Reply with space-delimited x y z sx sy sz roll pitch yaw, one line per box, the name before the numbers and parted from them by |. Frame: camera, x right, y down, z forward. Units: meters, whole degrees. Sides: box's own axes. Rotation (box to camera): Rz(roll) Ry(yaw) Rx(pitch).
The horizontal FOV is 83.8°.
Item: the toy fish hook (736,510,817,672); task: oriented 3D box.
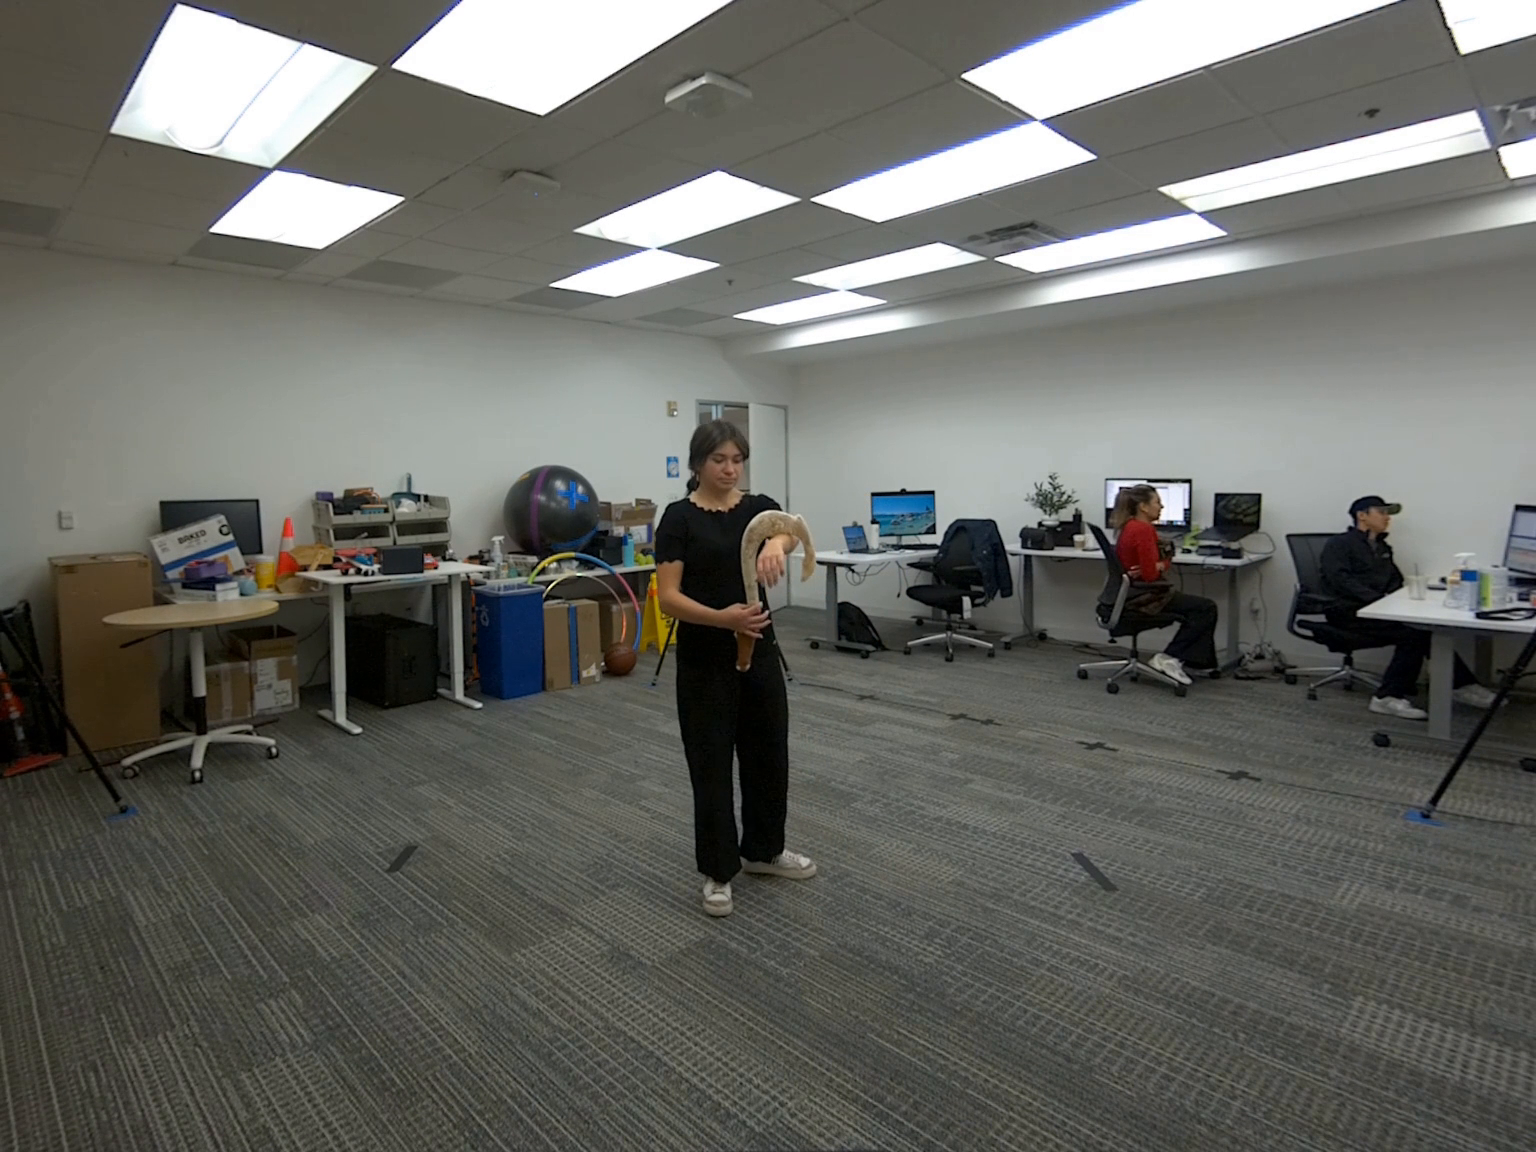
toy fish hook | 0.011 0.060 2.551 0.228 0.502 0.048 11 12 13
